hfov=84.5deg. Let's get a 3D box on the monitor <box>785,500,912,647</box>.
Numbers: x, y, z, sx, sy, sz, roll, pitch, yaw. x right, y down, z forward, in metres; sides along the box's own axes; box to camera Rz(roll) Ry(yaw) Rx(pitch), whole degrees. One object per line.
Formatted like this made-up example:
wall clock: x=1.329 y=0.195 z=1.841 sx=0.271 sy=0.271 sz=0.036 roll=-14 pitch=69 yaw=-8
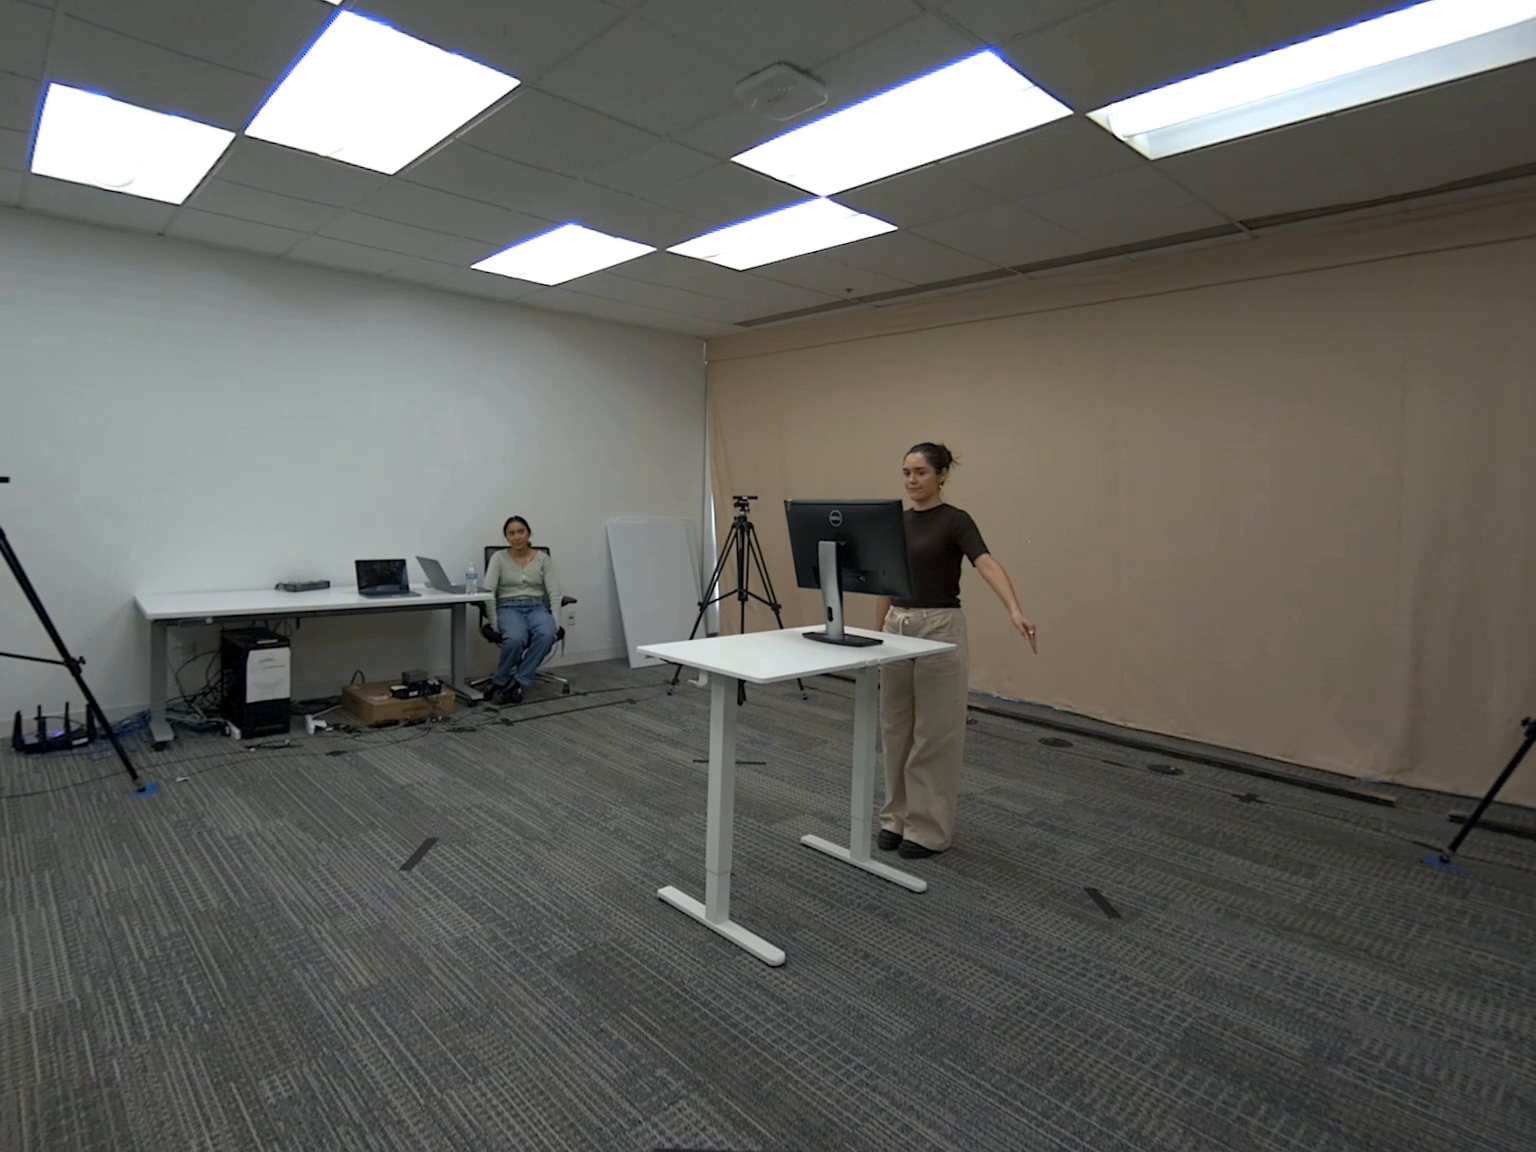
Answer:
monitor: x=0.260 y=-0.015 z=3.042 sx=0.553 sy=0.521 sz=0.183 roll=4 pitch=7 yaw=44
